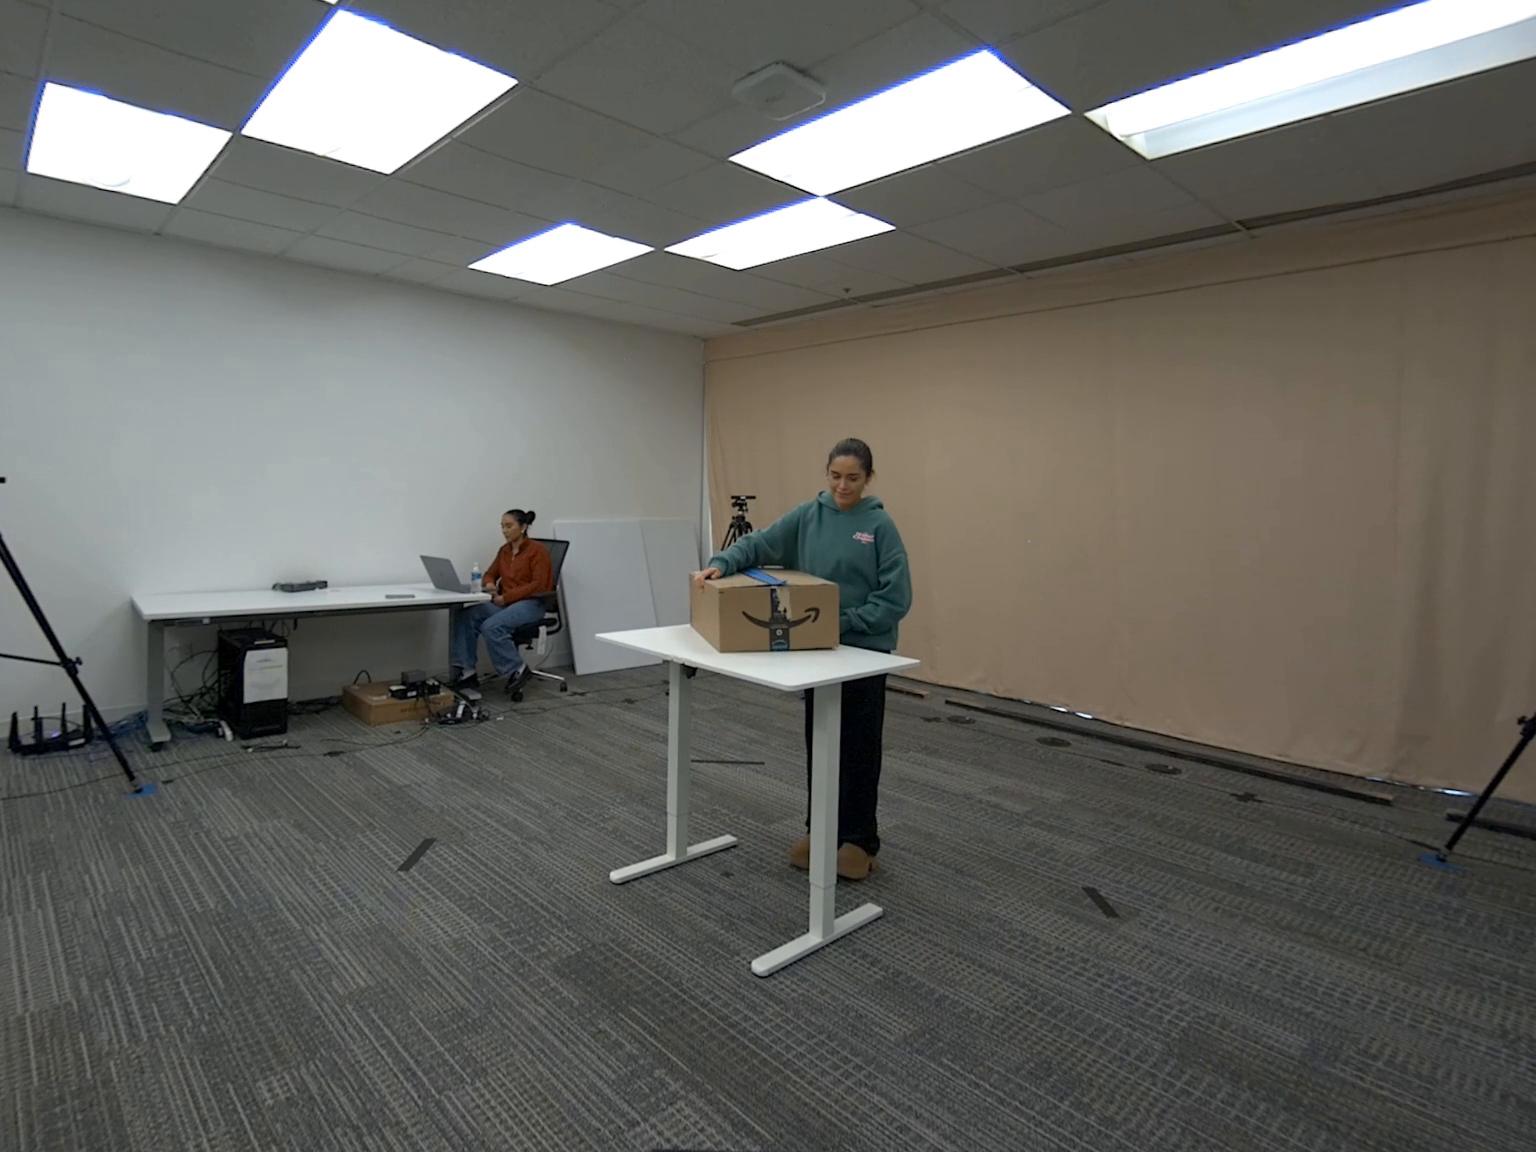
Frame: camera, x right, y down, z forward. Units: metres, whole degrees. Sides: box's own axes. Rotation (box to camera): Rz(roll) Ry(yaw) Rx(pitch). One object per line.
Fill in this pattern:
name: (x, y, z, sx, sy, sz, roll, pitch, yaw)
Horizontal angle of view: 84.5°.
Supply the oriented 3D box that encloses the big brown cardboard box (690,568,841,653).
big brown cardboard box: (-0.046, 0.106, 3.069, 0.413, 0.232, 0.598, -3, 7, -15)
